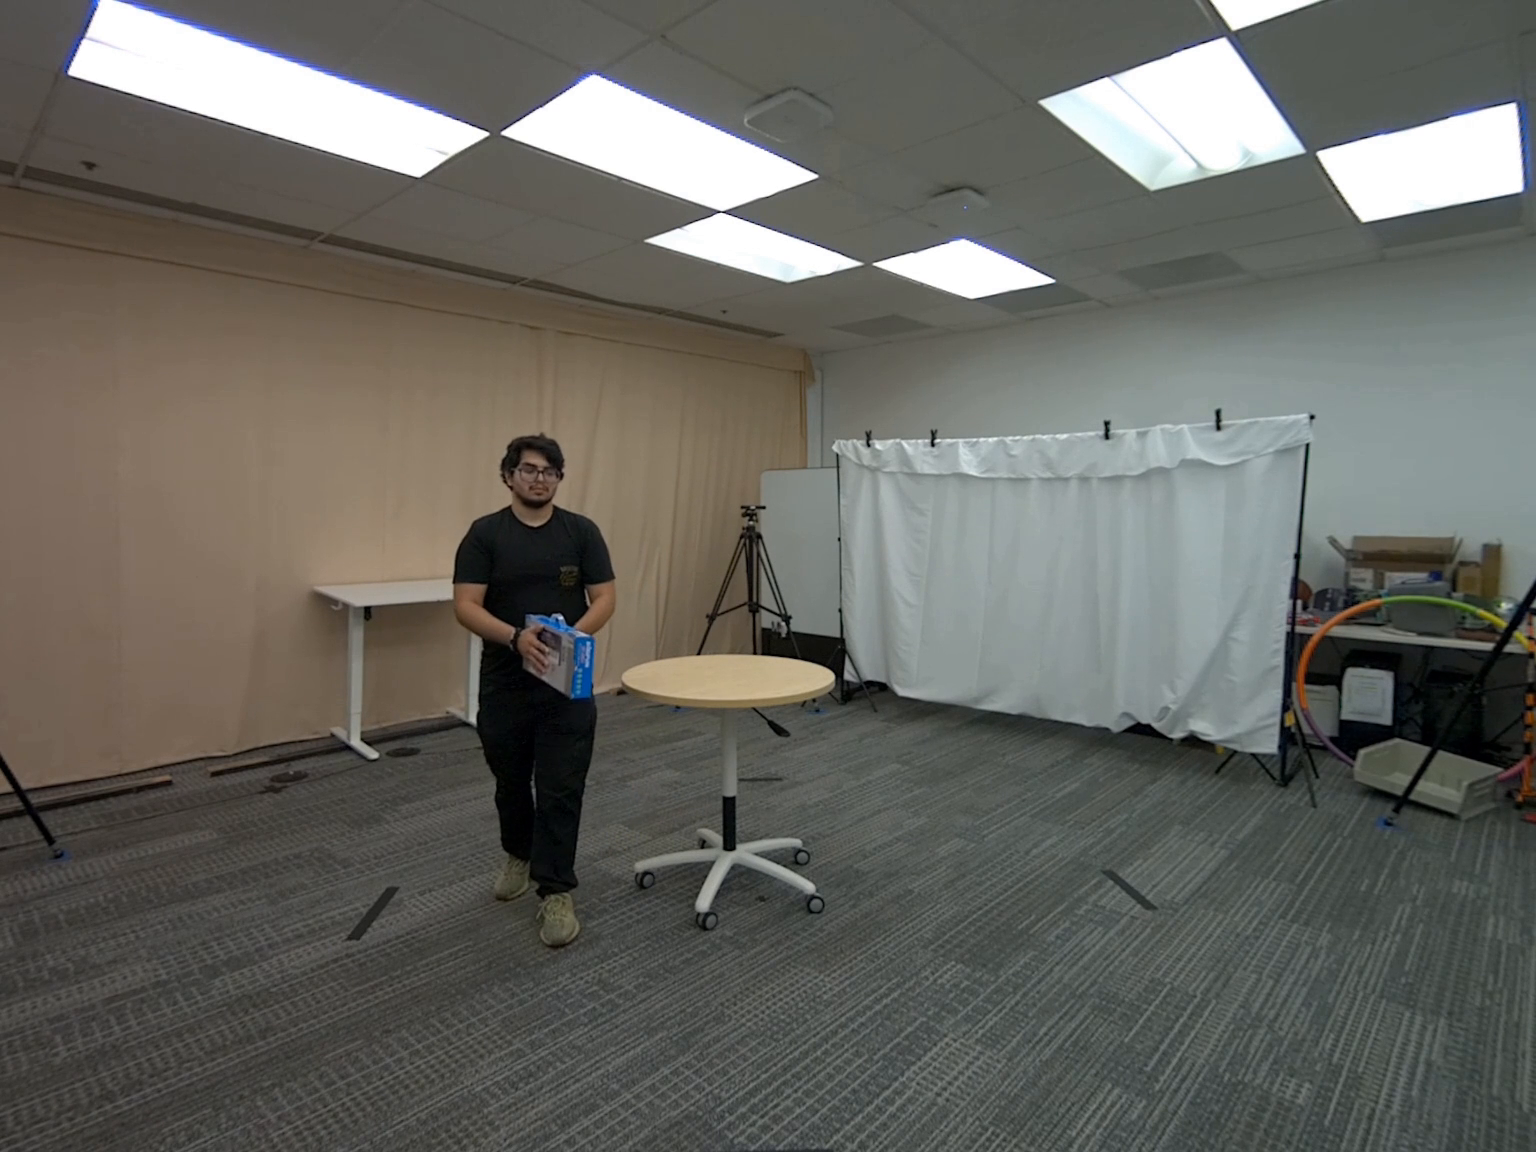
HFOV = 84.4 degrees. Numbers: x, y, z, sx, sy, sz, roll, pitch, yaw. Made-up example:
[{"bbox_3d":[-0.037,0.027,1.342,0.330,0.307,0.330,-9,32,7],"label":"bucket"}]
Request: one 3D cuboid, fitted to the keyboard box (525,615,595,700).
[{"bbox_3d":[-0.623,0.232,2.508,0.057,0.176,0.450,3,4,-32],"label":"keyboard box"}]
